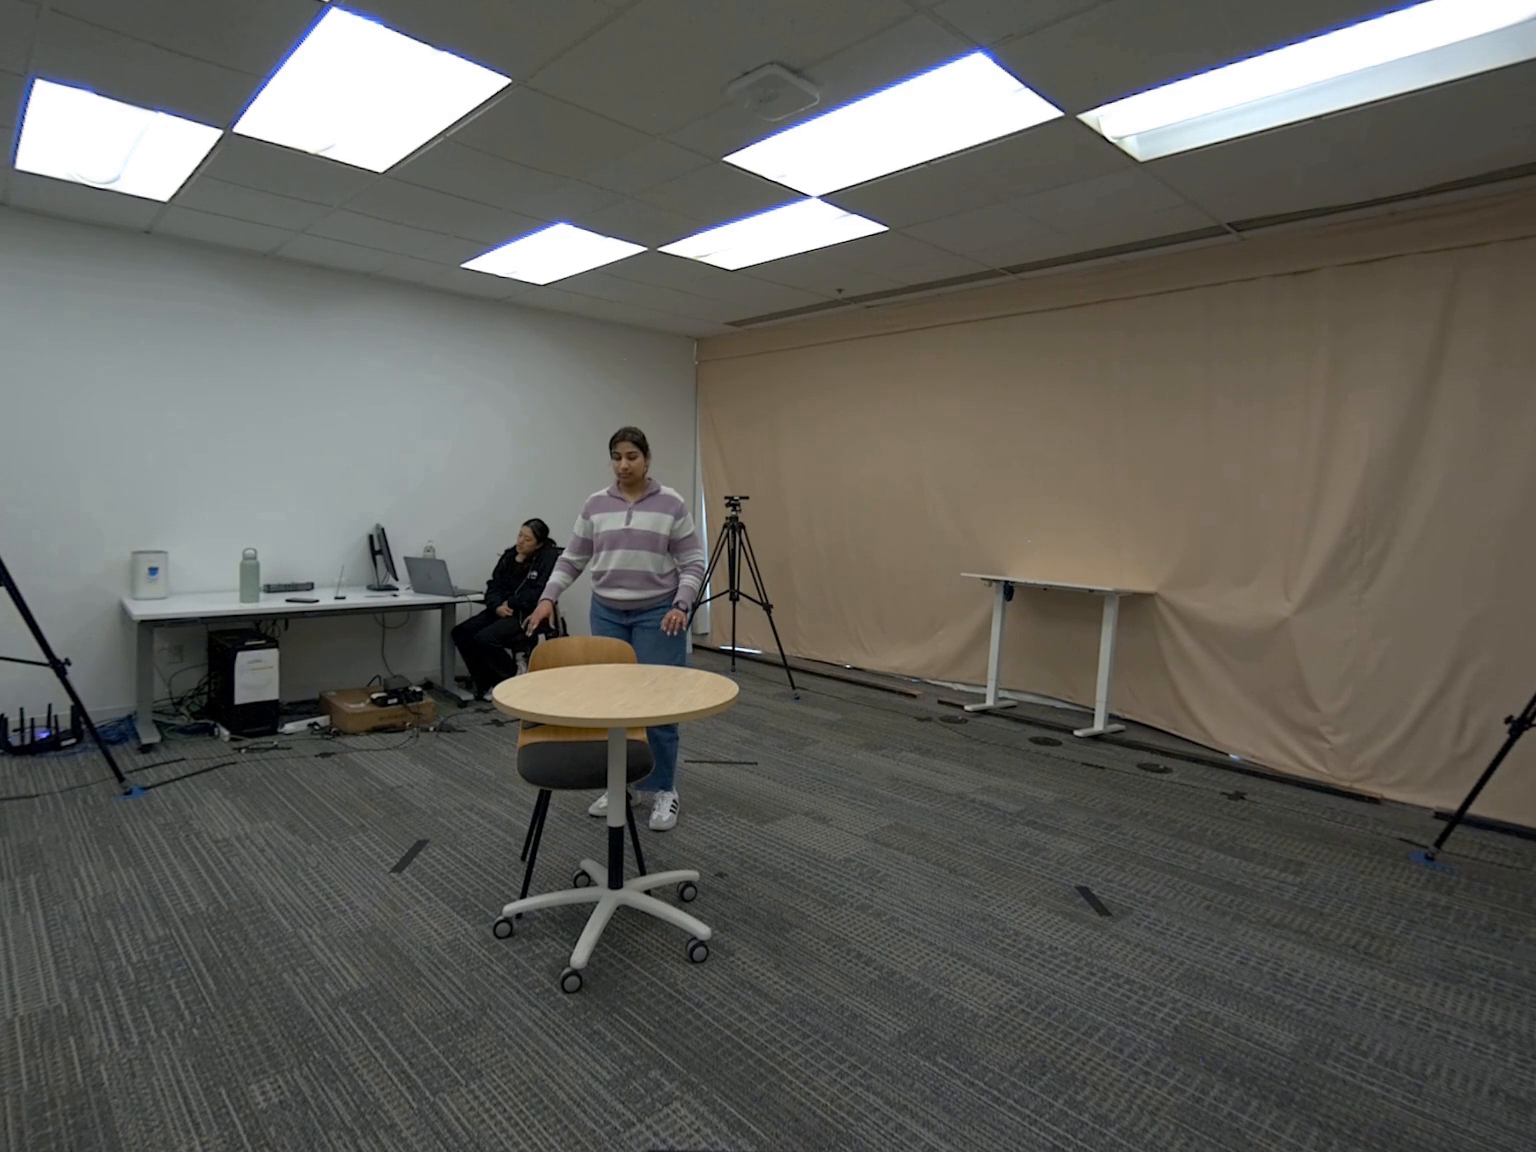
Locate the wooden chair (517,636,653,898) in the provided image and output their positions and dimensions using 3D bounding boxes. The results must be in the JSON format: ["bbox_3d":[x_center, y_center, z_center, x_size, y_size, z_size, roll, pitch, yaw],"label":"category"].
[{"bbox_3d":[-0.655,0.679,2.975,0.473,0.878,0.529,1,-1,-15],"label":"wooden chair"}]
